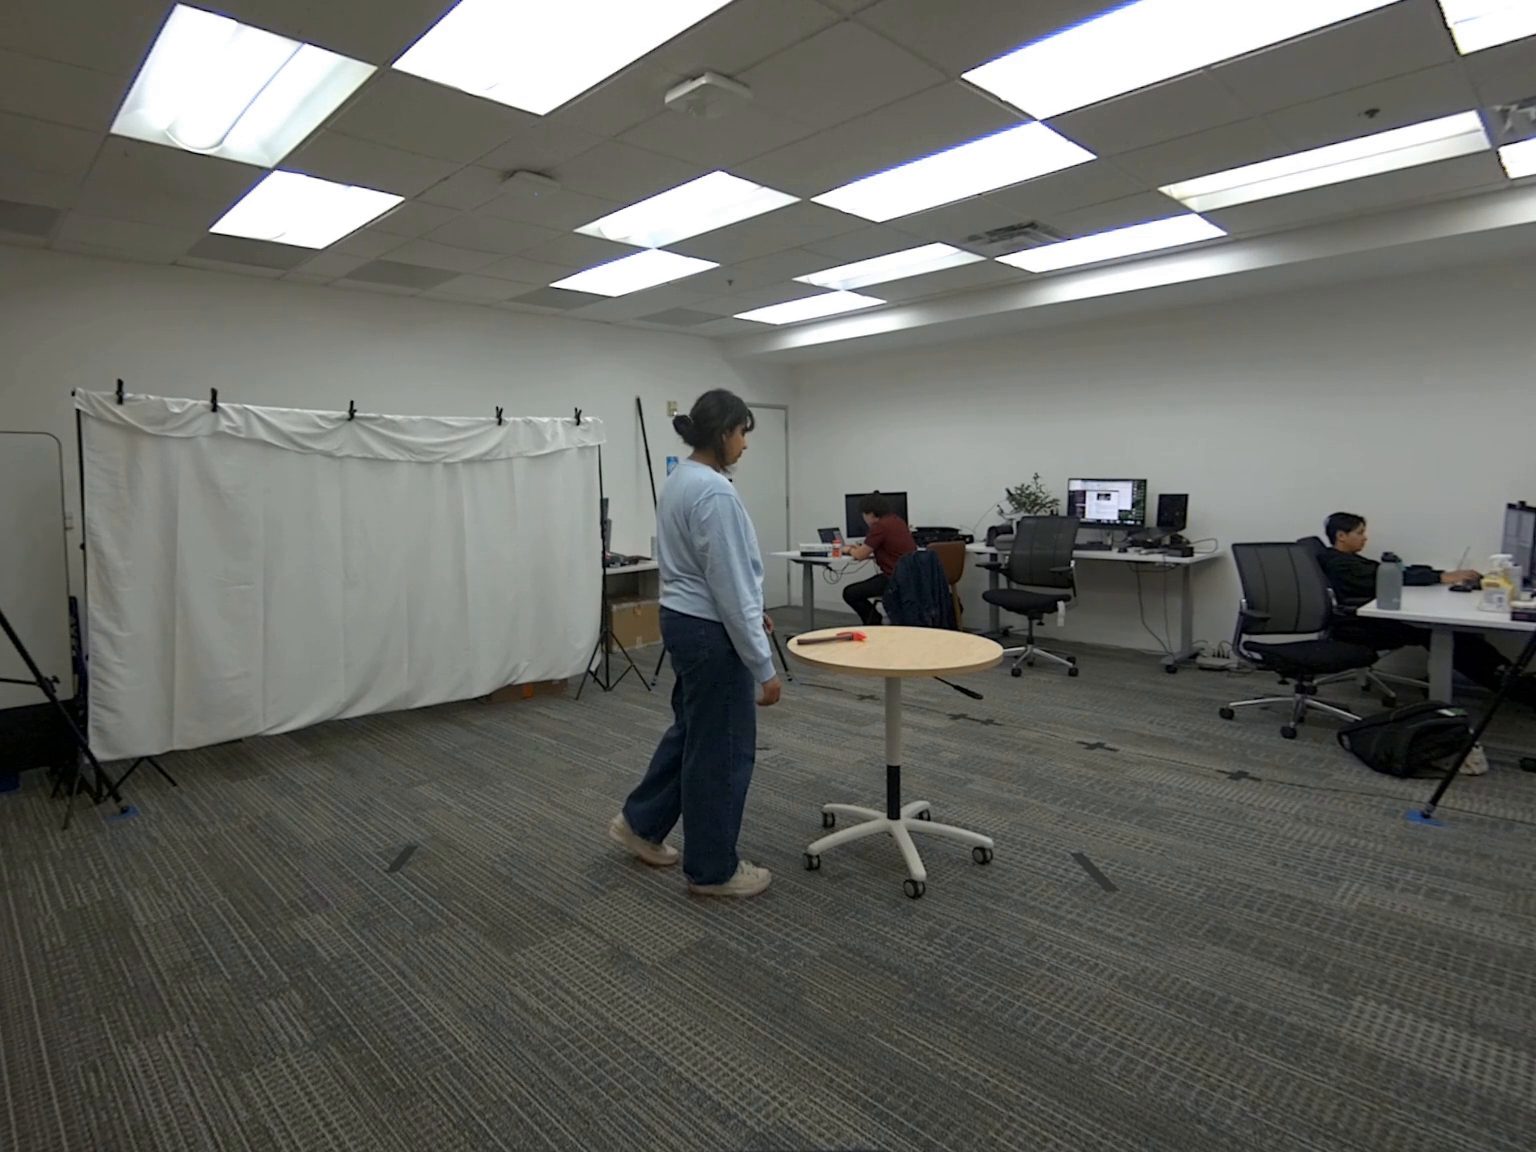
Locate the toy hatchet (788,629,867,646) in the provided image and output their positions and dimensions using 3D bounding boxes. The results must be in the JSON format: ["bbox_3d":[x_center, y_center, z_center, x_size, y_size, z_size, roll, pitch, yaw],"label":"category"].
[{"bbox_3d":[0.227,0.229,3.219,0.268,0.029,0.133,-3,7,-10],"label":"toy hatchet"}]
